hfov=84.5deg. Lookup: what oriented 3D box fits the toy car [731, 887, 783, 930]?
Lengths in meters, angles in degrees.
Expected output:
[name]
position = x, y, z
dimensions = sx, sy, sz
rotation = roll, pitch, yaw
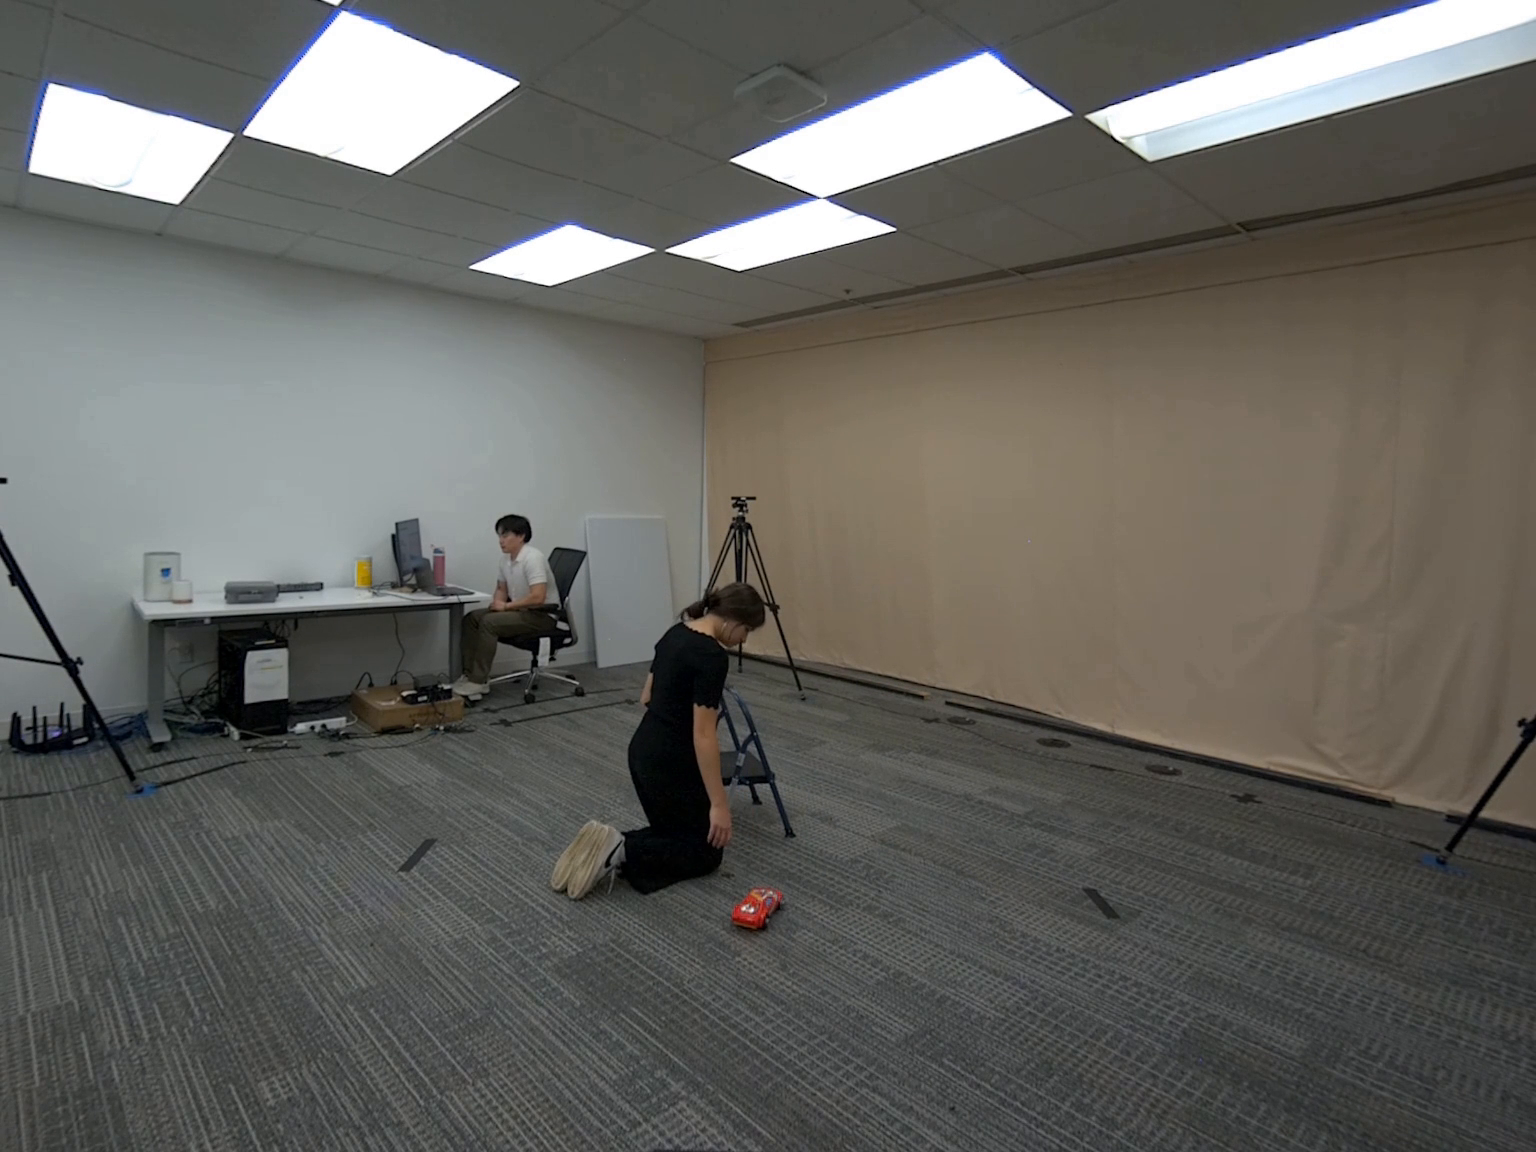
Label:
[toy car]
position = -0.051, 1.107, 2.785
dimensions = 0.133, 0.083, 0.249
rotation = 6, -4, 21
